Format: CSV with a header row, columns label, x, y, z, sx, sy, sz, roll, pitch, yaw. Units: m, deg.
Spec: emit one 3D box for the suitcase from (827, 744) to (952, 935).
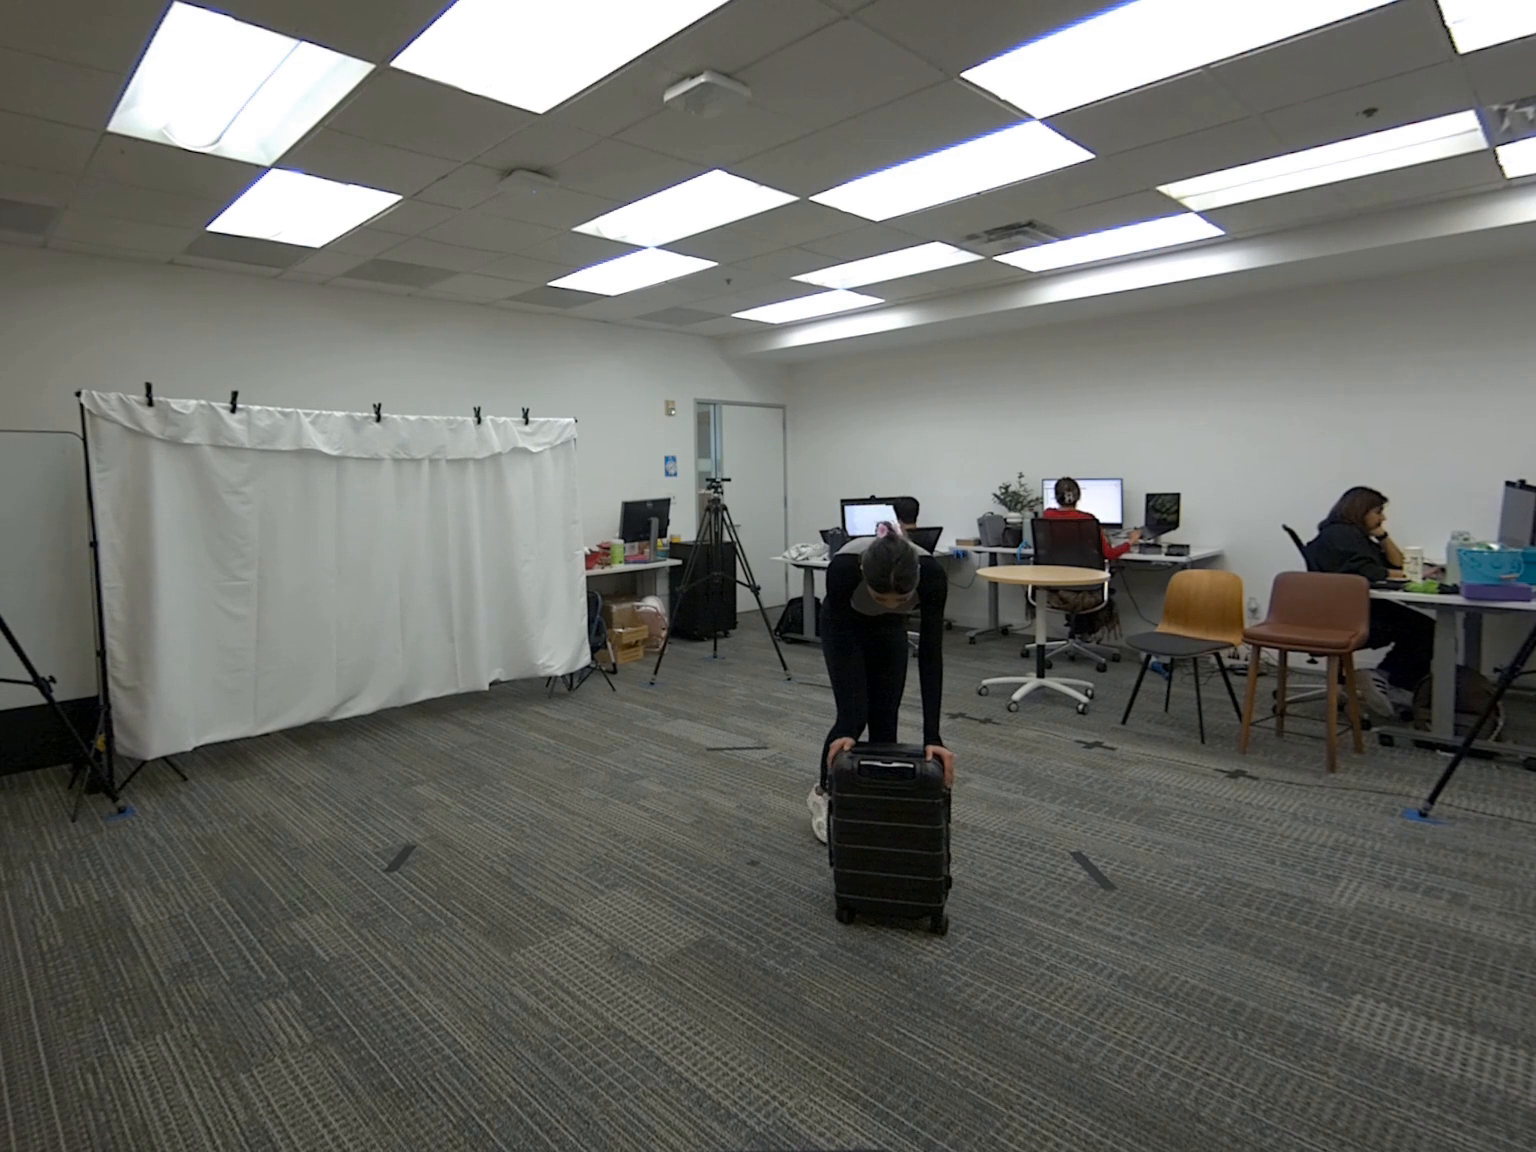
label,x,y,z,sx,sy,sz,roll,pitch,yaw
suitcase,0.384,0.812,2.715,0.381,0.546,0.246,0,7,14
